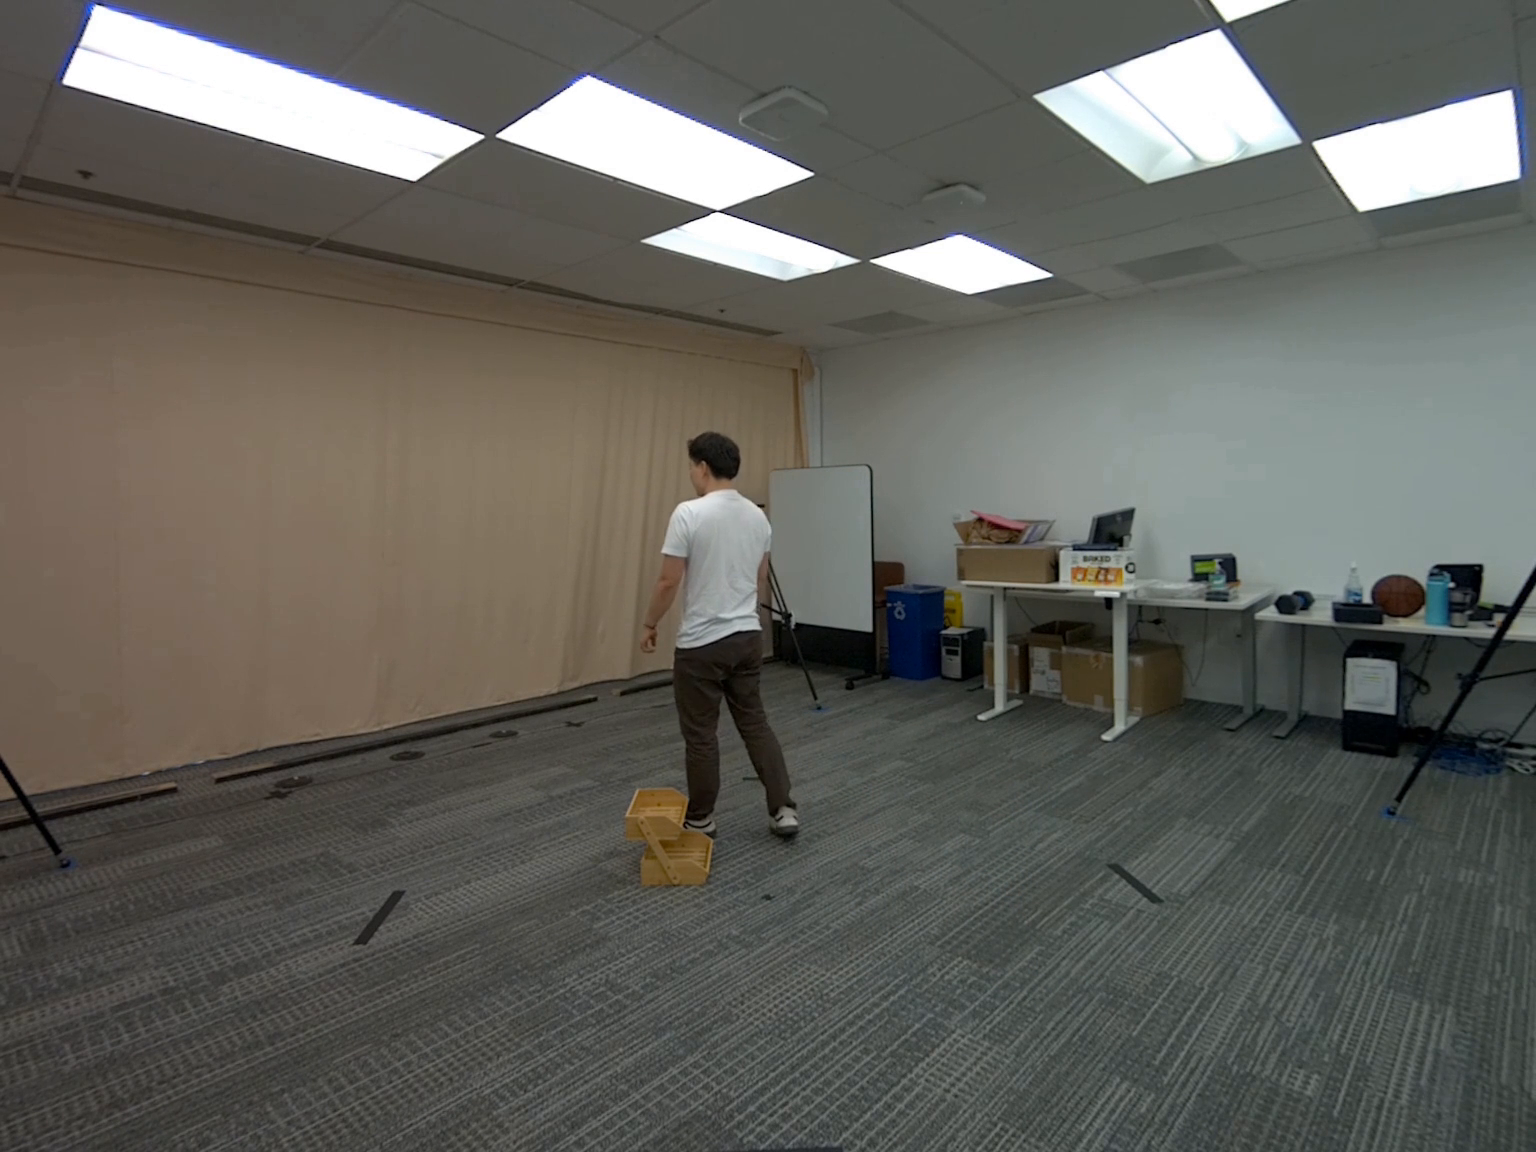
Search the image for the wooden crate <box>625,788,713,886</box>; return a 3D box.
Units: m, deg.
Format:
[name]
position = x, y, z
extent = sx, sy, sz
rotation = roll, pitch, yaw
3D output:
[wooden crate]
position = -0.369, 0.991, 3.239
extent = 0.303, 0.273, 0.324
rotation = -1, 4, 1
